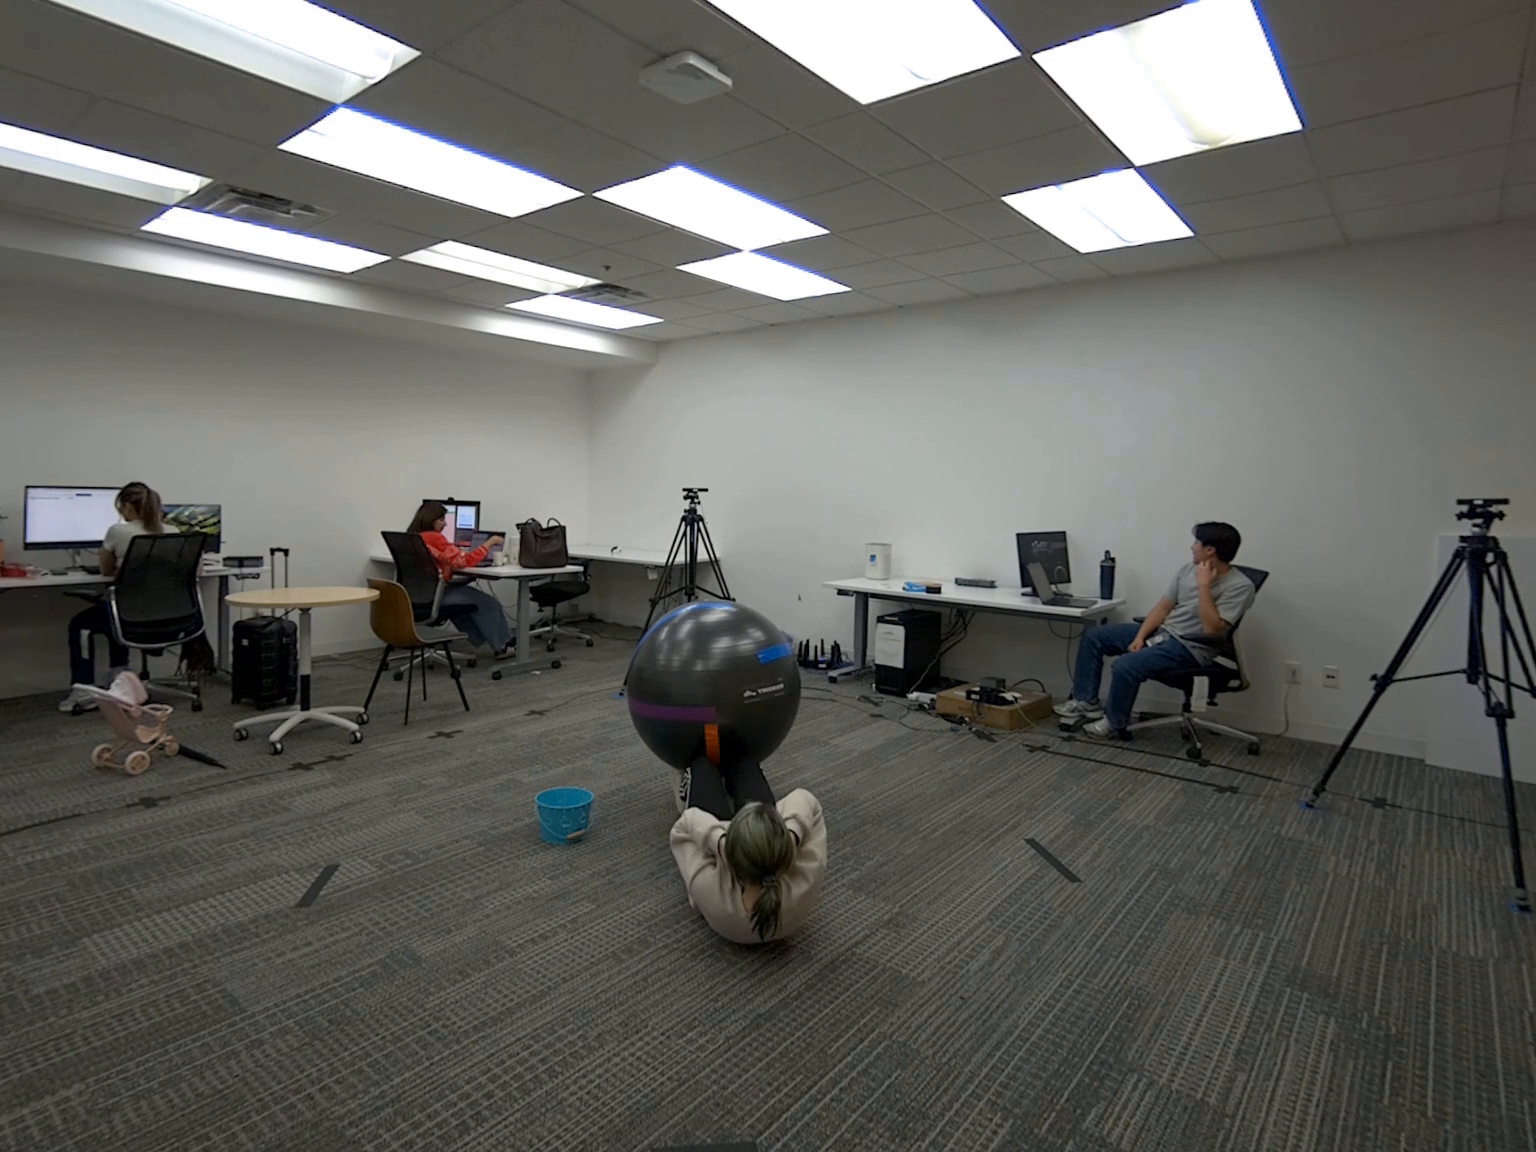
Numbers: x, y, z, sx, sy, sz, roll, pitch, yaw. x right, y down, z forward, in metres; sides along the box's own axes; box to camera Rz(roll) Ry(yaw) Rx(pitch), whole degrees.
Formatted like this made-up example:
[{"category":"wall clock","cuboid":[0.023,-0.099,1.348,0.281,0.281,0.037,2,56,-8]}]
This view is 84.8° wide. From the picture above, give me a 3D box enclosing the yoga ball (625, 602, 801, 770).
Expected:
[{"category":"yoga ball","cuboid":[-0.252,0.480,3.692,0.757,0.756,0.761,1,4,-2]}]
